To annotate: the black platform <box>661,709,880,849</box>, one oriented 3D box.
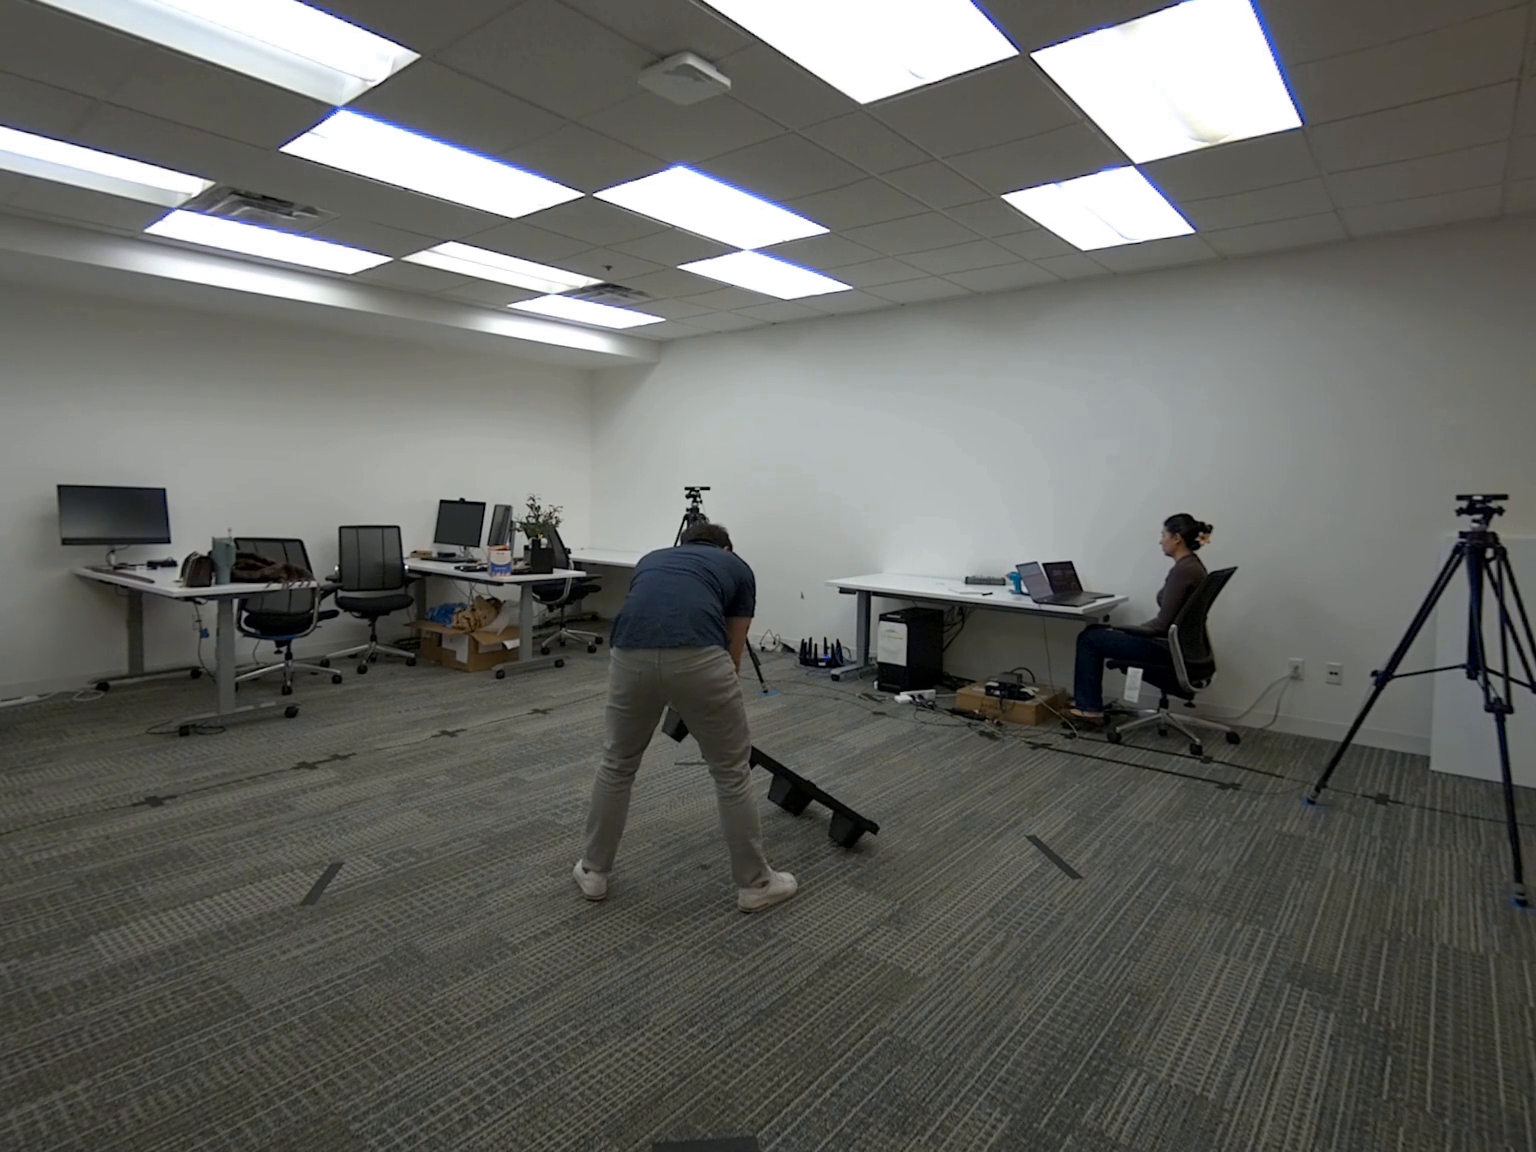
[{"bbox_3d":[-0.034,0.781,3.373,0.780,0.144,0.622,38,-14,-25],"label":"black platform"}]
